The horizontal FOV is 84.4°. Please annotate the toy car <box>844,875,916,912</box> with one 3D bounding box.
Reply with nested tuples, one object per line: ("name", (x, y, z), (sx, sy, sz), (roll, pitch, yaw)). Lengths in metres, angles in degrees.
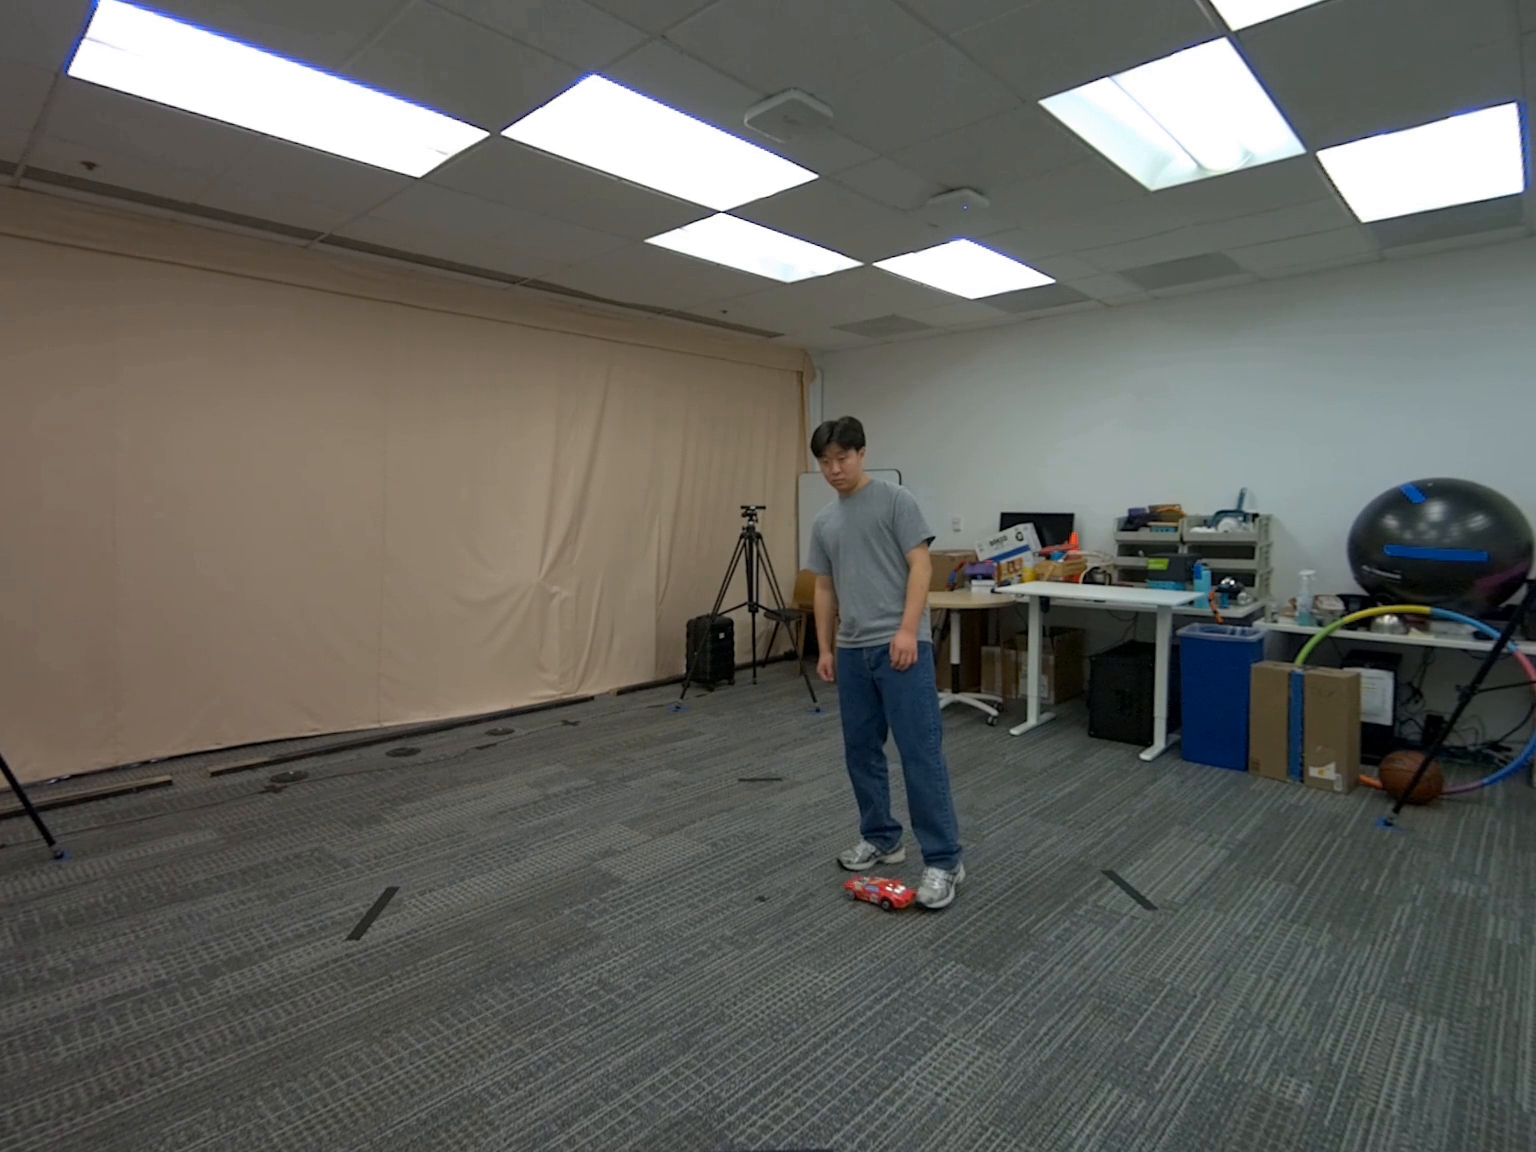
("toy car", (0.392, 1.116, 2.951), (0.261, 0.083, 0.126), (-11, -3, 39))
